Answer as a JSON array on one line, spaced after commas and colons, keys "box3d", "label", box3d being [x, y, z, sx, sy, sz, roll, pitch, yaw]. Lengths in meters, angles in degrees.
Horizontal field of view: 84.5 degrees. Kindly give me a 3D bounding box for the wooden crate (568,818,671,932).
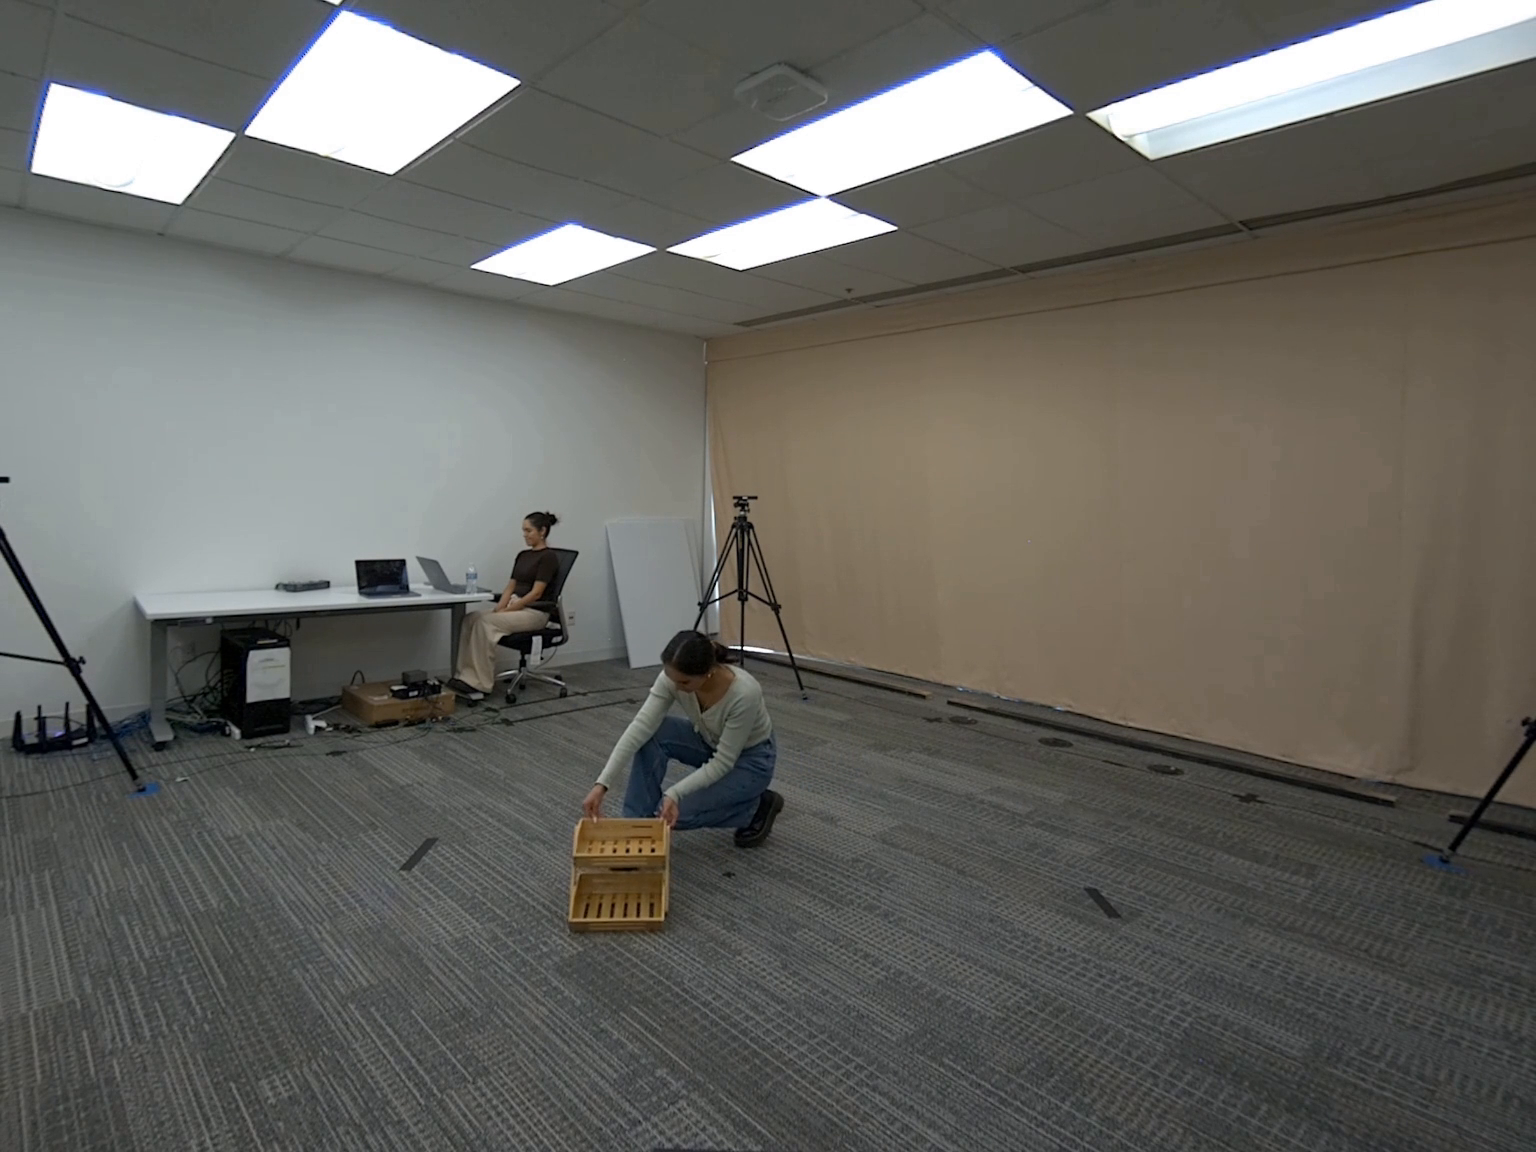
[{"box3d": [-0.503, 0.991, 2.798, 0.323, 0.273, 0.304, 1, 4, -5], "label": "wooden crate"}]
